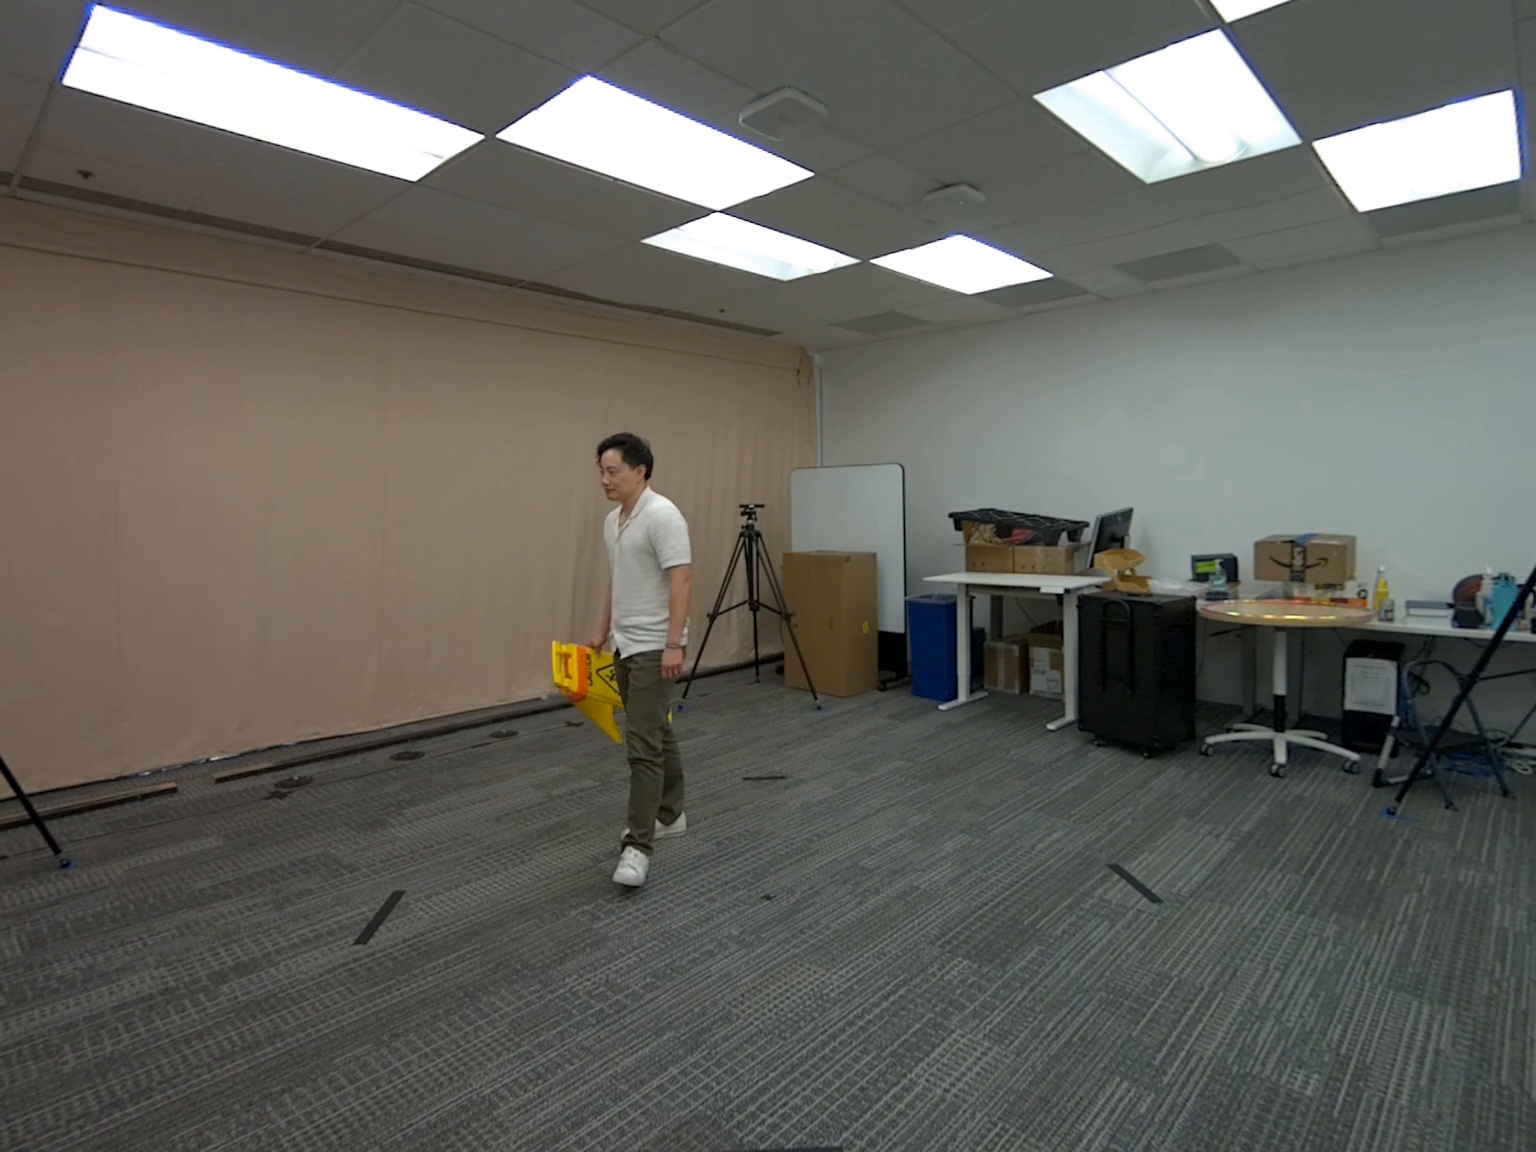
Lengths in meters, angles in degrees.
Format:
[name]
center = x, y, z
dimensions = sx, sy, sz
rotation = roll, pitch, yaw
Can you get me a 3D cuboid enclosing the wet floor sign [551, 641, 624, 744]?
[wet floor sign]
center = -0.731, 0.478, 3.696
dimensions = 0.294, 0.288, 0.623
rotation = -24, -35, 20
